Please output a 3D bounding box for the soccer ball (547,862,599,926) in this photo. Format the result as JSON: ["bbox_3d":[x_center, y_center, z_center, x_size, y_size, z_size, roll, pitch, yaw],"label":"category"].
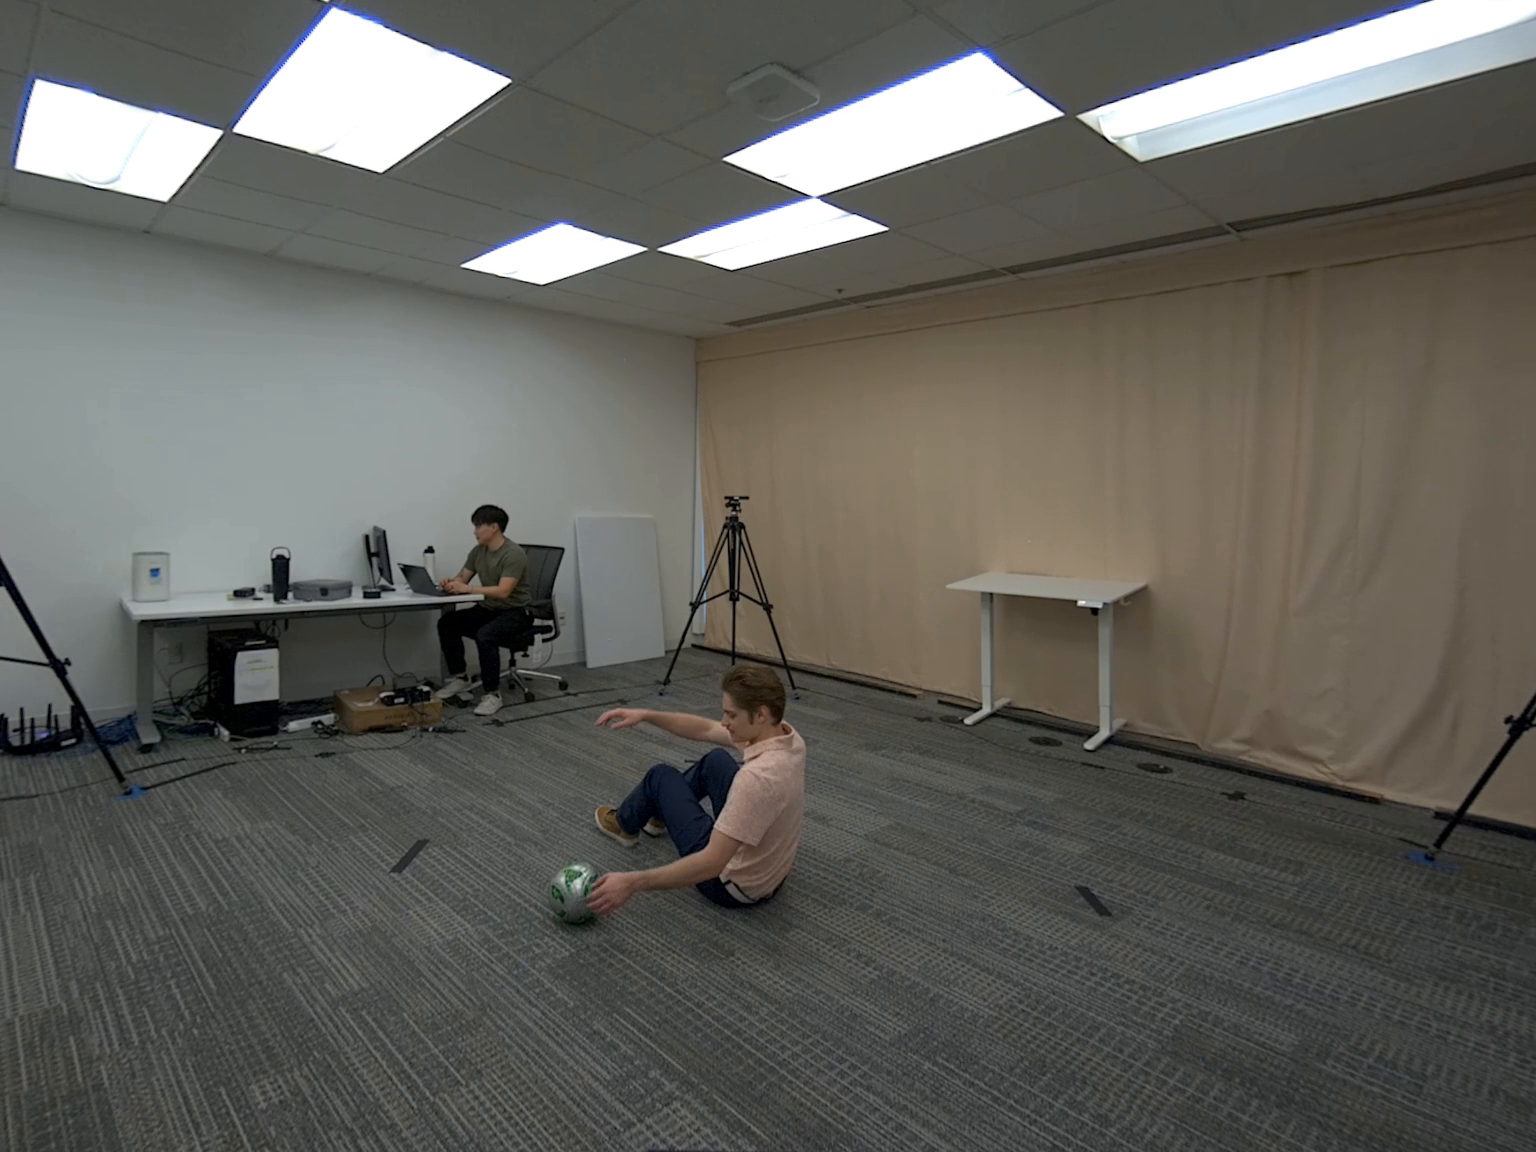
[{"bbox_3d":[-0.628,1.029,2.754,0.187,0.187,0.188,1,4,-1],"label":"soccer ball"}]
